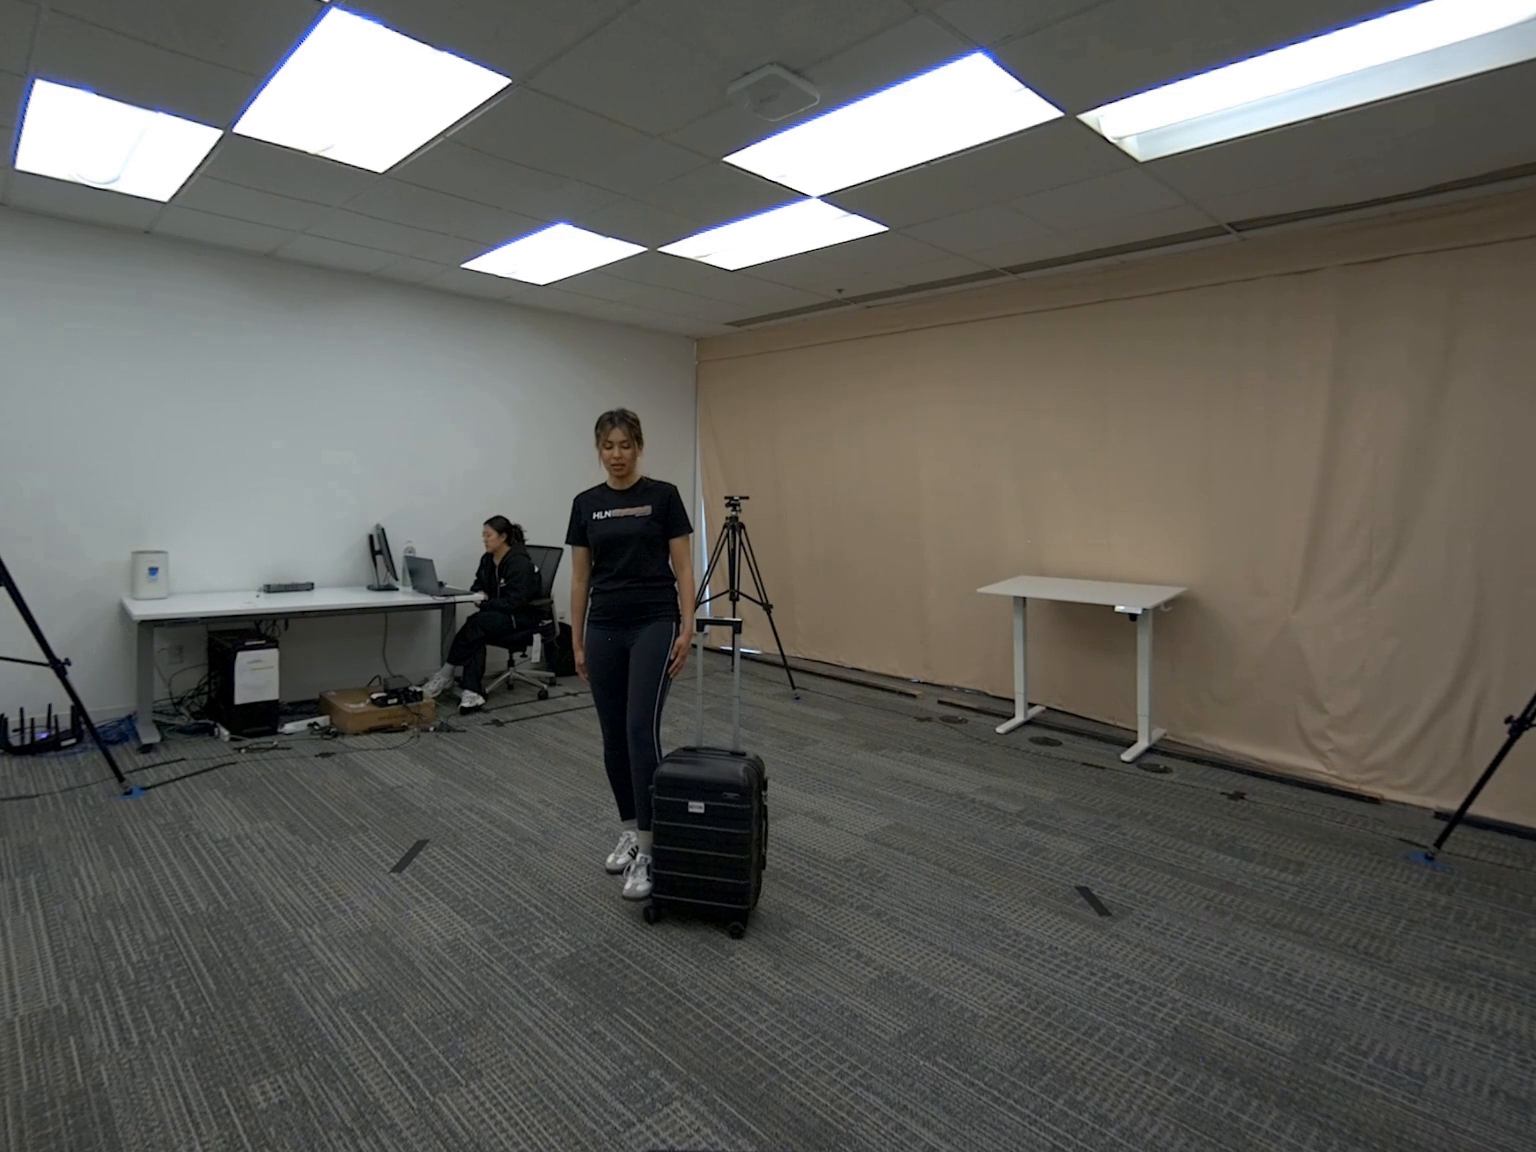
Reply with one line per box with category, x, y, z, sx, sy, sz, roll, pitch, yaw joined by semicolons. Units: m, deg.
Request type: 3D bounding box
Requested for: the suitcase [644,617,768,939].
suitcase;-0.195;0.654;2.762;0.388;0.974;0.255;2;6;12
